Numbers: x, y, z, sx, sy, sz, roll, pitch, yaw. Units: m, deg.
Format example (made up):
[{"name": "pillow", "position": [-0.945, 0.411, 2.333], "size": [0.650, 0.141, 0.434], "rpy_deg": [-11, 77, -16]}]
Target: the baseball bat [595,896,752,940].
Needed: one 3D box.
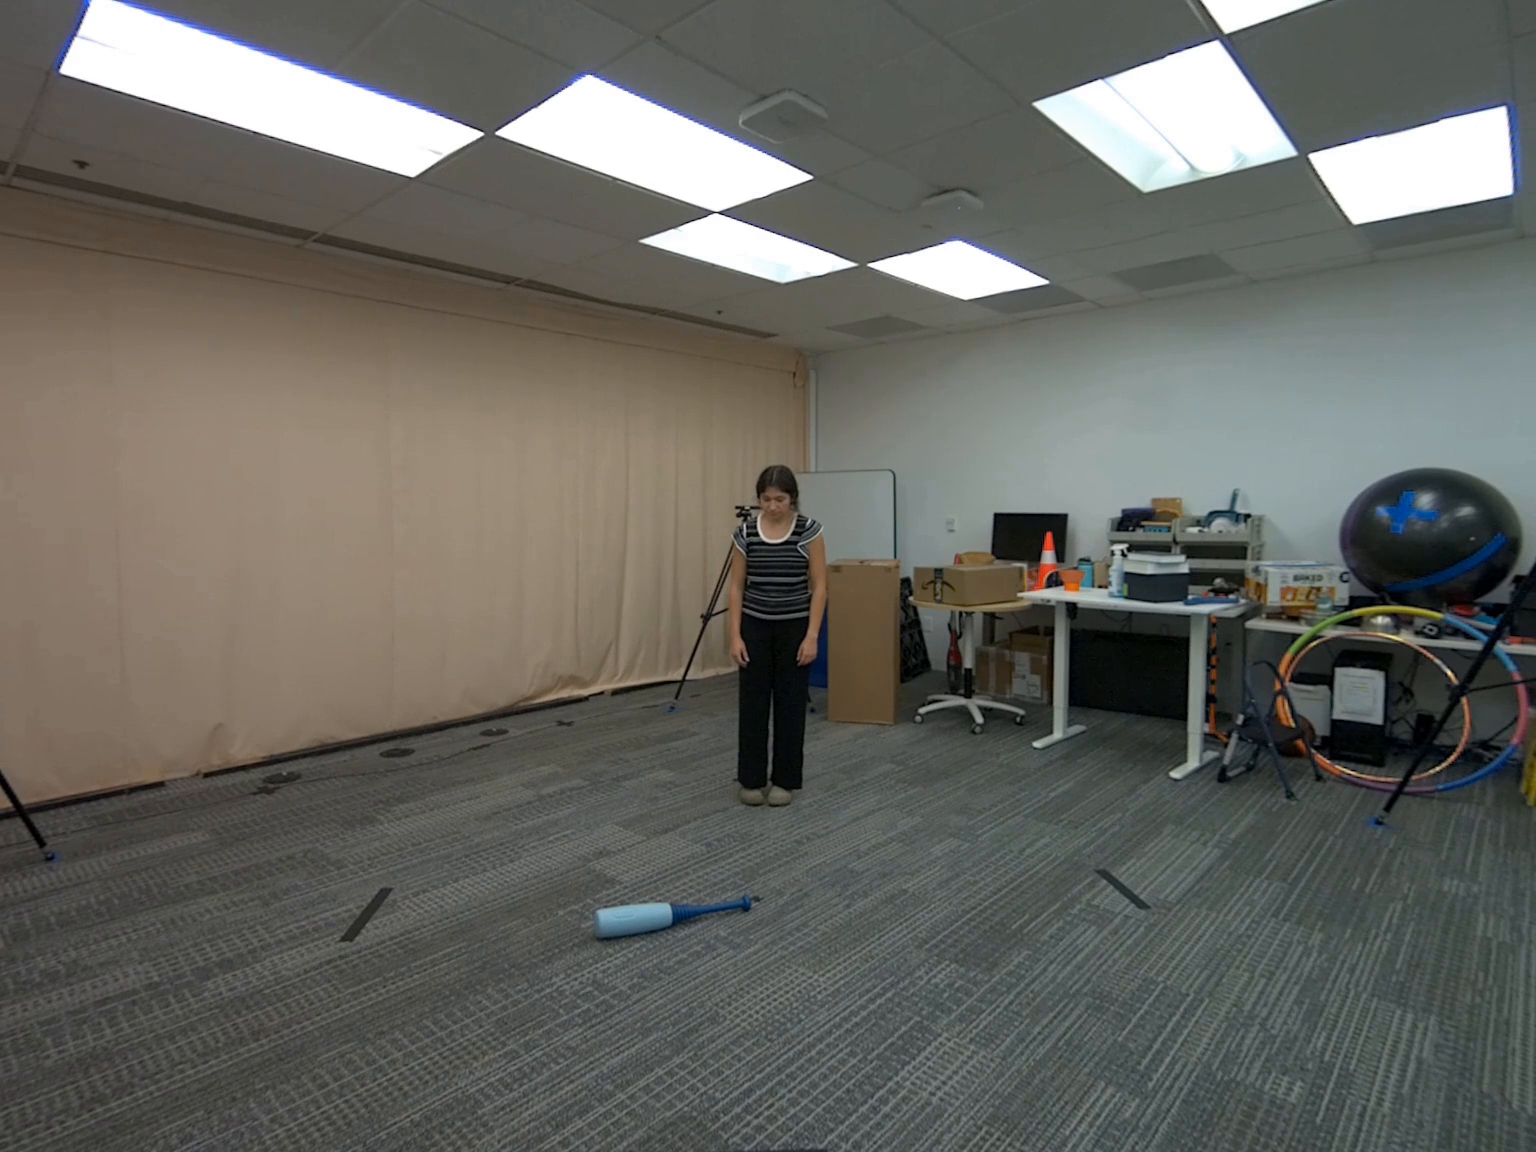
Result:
[{"name": "baseball bat", "position": [-0.309, 1.128, 2.798], "size": [0.531, 0.089, 0.091], "rpy_deg": [2, 3, -21]}]
